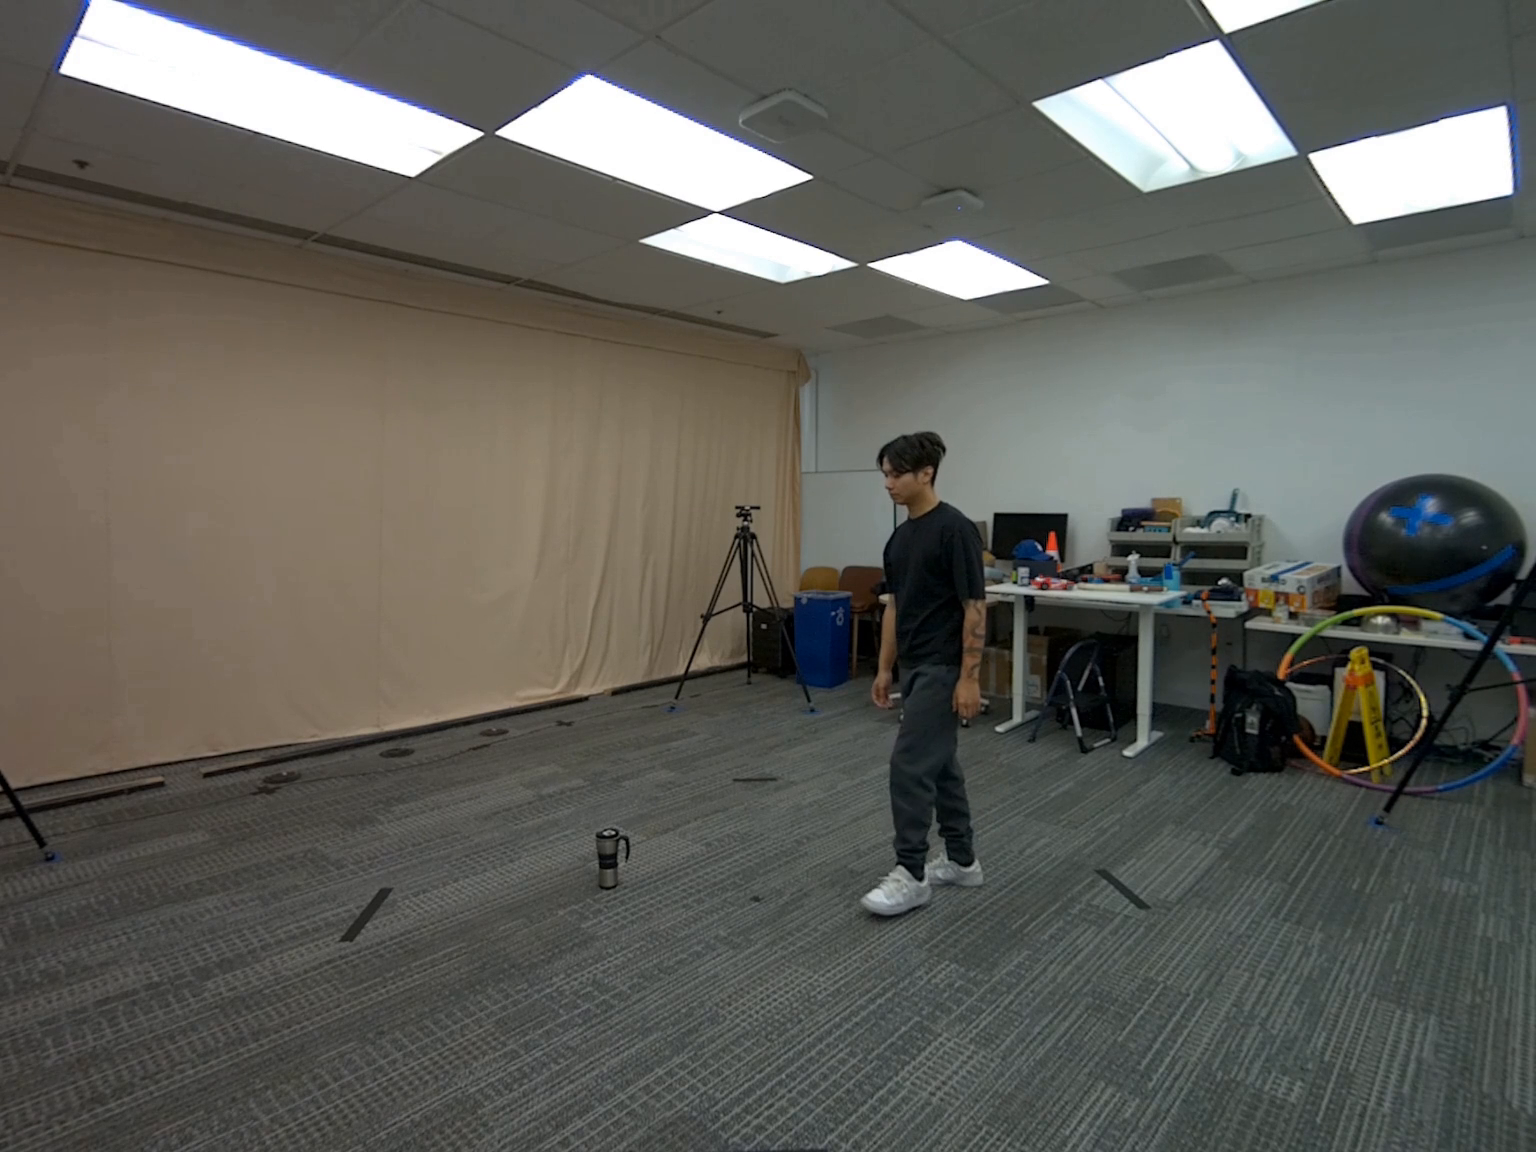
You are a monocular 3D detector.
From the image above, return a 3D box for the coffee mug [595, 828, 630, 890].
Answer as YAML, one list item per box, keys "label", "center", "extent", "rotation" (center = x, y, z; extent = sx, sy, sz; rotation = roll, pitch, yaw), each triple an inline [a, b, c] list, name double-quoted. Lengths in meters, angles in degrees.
- label: "coffee mug"
  center: [-0.572, 1.046, 3.081]
  extent: [0.126, 0.203, 0.085]
  rotation: [-2, -1, 38]
